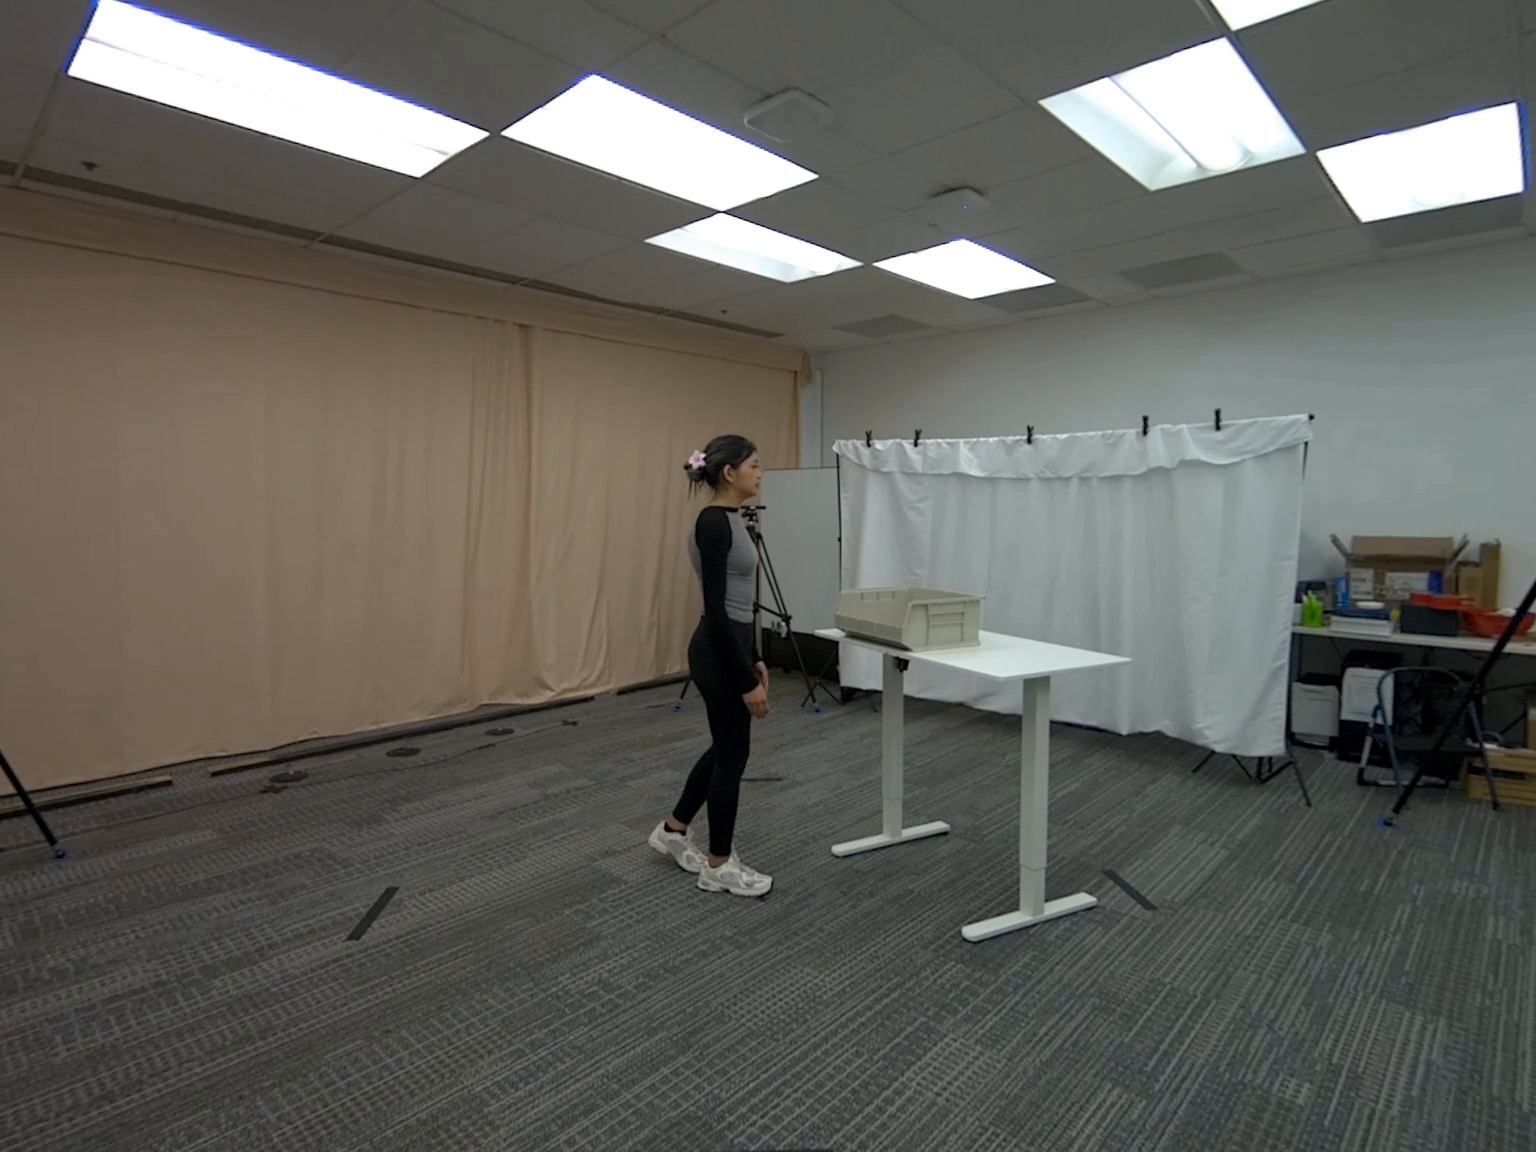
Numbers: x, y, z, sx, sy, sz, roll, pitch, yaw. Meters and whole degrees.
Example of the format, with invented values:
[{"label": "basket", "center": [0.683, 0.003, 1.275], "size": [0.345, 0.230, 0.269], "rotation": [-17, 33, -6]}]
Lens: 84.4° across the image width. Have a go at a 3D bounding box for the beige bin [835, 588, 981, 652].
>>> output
[{"label": "beige bin", "center": [0.520, 0.153, 3.153], "size": [0.368, 0.188, 0.434], "rotation": [-1, 5, -28]}]
